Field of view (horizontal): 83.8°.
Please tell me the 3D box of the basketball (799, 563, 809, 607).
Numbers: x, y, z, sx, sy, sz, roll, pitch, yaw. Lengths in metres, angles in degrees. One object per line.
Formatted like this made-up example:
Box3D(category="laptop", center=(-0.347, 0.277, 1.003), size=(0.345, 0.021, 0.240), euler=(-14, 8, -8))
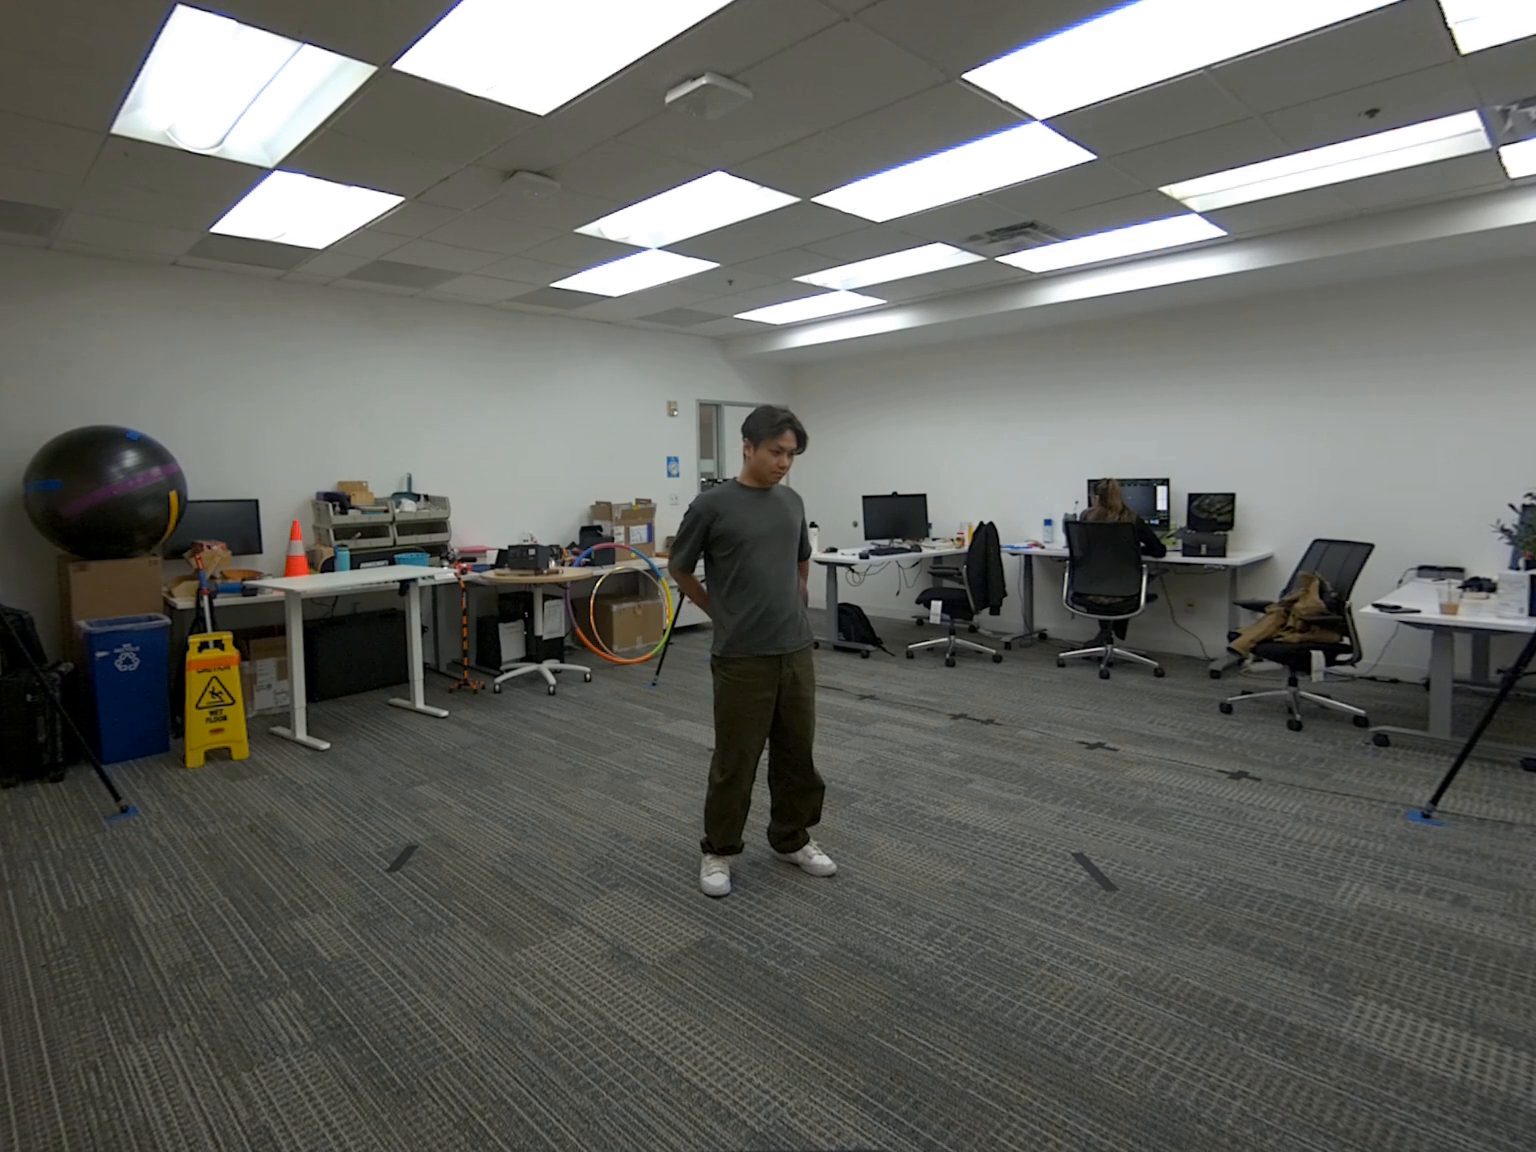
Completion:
Box3D(category="basketball", center=(0.036, 0.088, 3.179), size=(0.236, 0.235, 0.237), euler=(-1, 5, -2))
